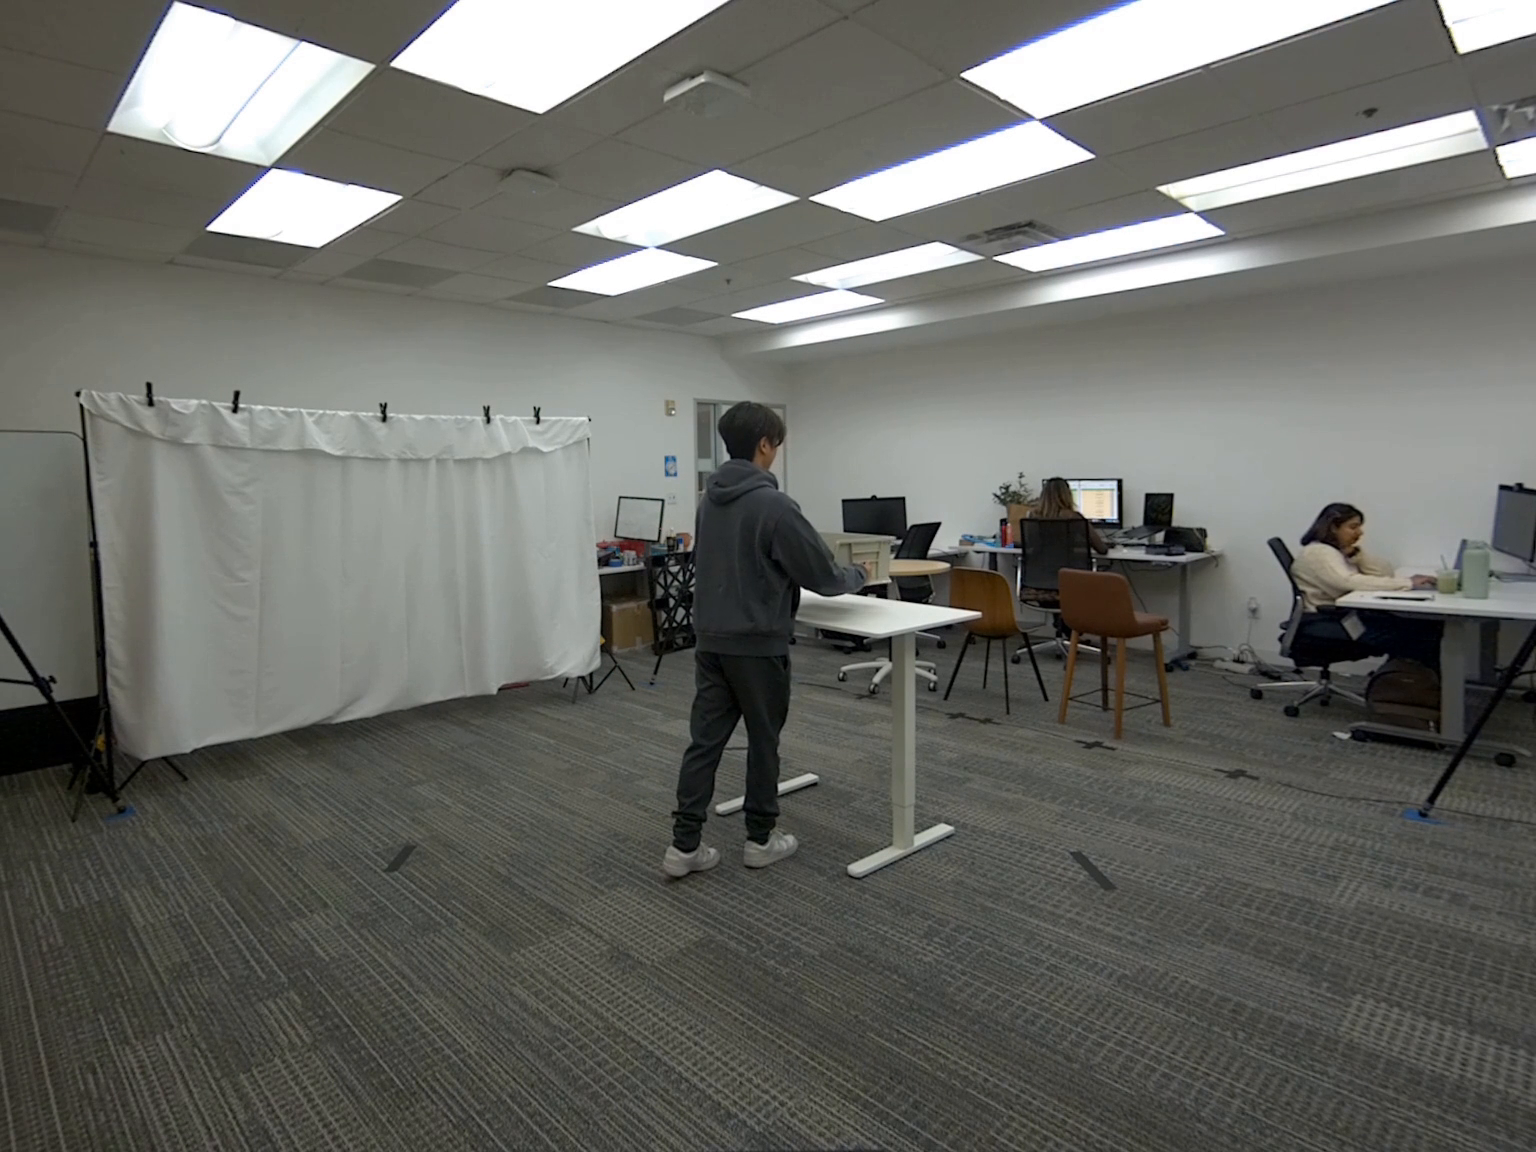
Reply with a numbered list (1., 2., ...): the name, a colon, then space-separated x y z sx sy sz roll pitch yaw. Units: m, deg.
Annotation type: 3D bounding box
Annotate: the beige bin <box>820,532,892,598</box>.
1. beige bin: 0.224 -0.071 3.385 0.367 0.188 0.436 -3 7 -43
